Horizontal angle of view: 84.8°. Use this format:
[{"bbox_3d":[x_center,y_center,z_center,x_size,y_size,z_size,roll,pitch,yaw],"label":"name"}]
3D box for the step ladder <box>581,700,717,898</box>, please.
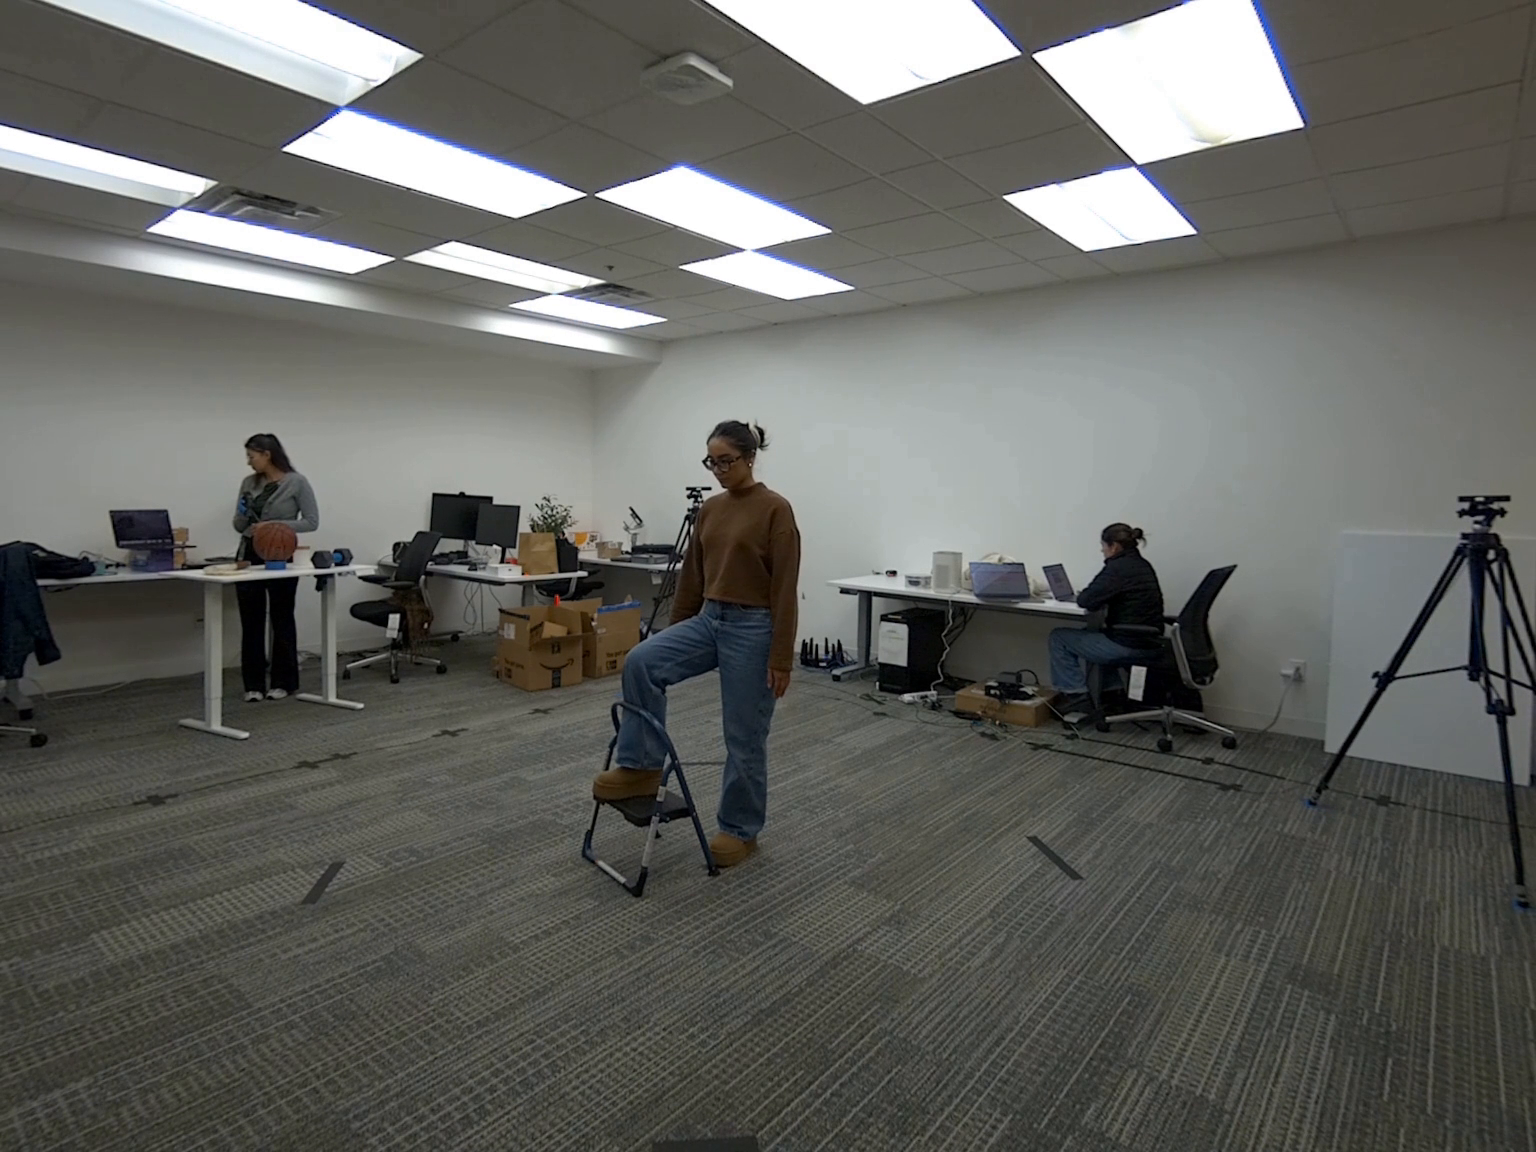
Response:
[{"bbox_3d":[-0.445,0.758,3.116,0.339,0.604,0.445,-2,5,-39],"label":"step ladder"}]
